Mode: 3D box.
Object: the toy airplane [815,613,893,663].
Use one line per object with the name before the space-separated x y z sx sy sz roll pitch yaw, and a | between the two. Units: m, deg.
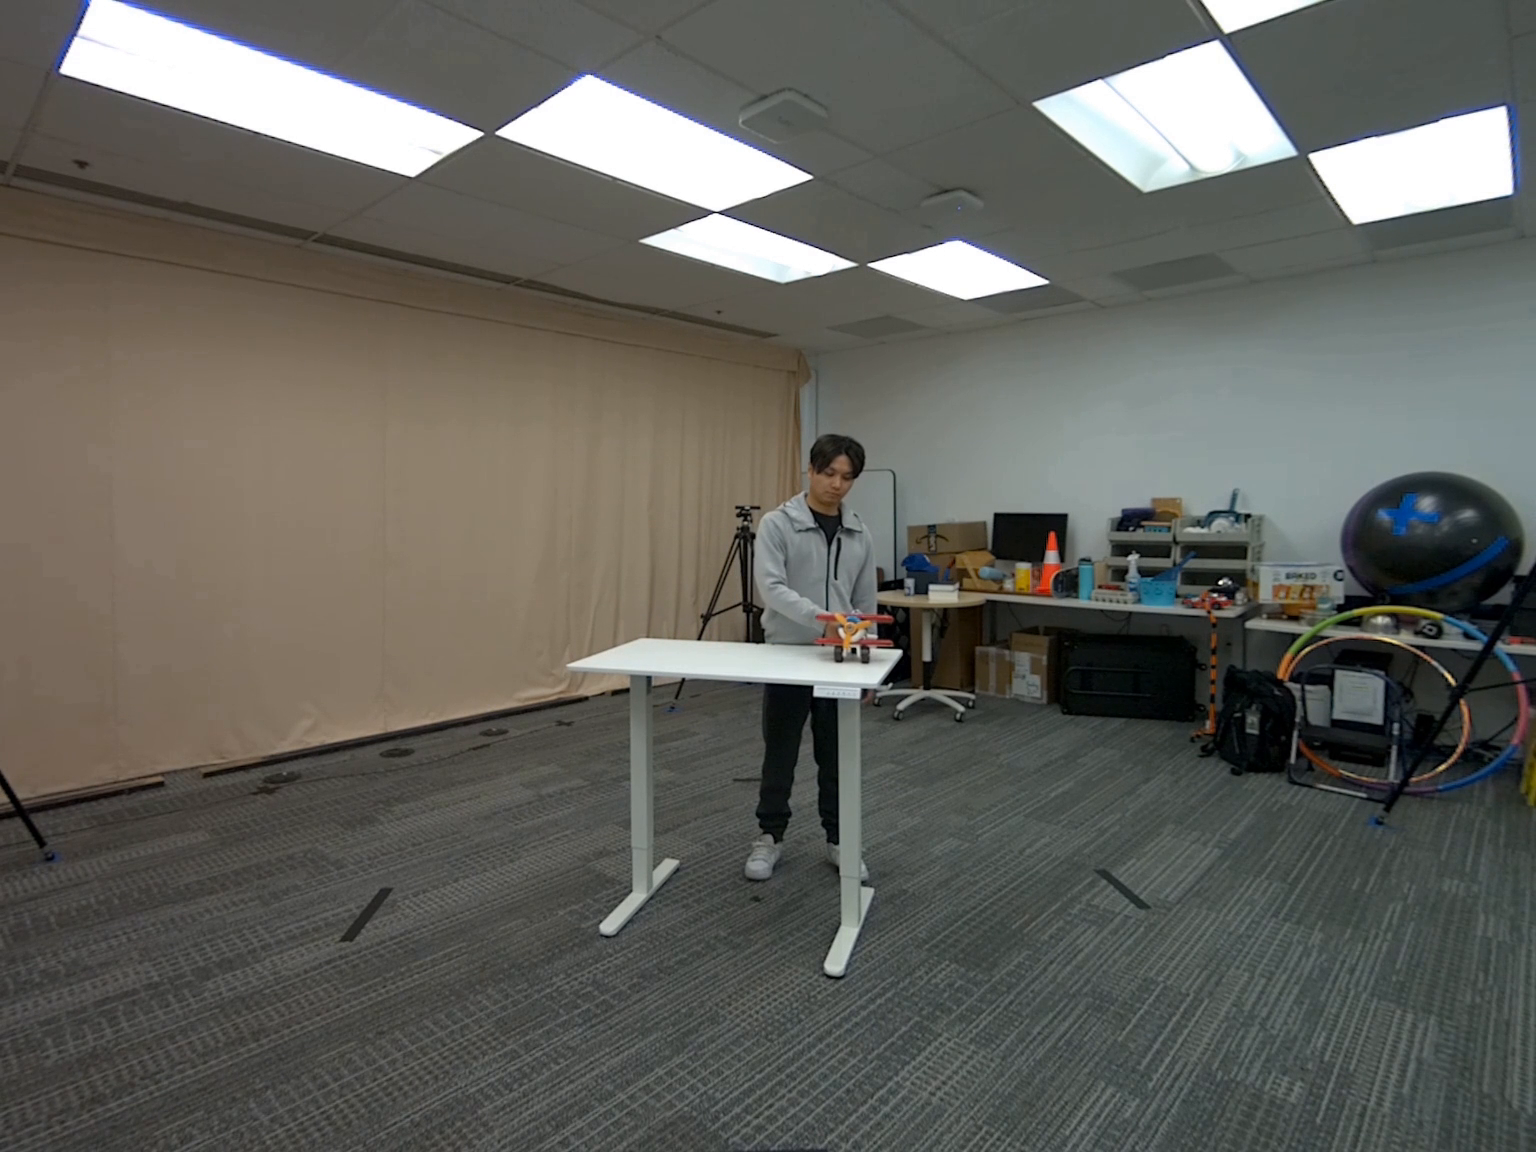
toy airplane | 0.264 0.193 2.799 0.247 0.156 0.264 -1 5 -14
